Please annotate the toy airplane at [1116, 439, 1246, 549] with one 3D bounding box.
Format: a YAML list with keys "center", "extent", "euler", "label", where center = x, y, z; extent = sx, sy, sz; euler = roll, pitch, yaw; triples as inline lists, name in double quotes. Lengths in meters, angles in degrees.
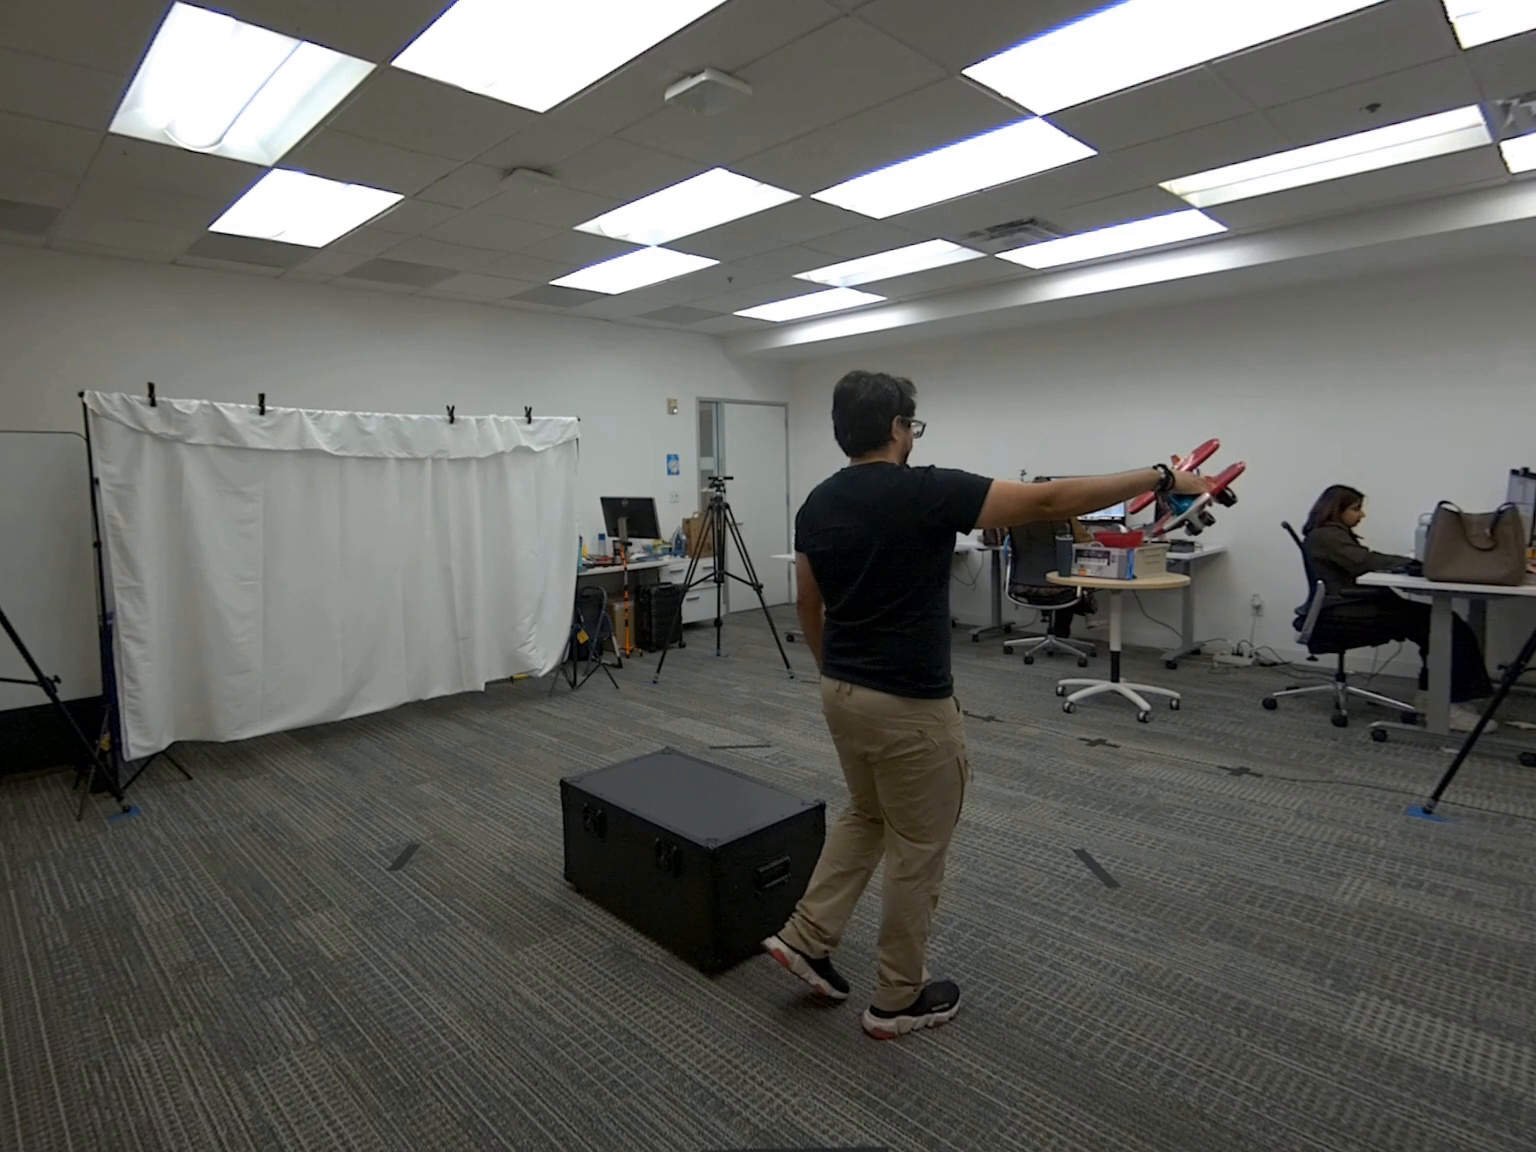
- center: [1.010, -0.195, 1.995]
  extent: [0.251, 0.160, 0.254]
  euler: [-40, -14, 8]
  label: "toy airplane"
